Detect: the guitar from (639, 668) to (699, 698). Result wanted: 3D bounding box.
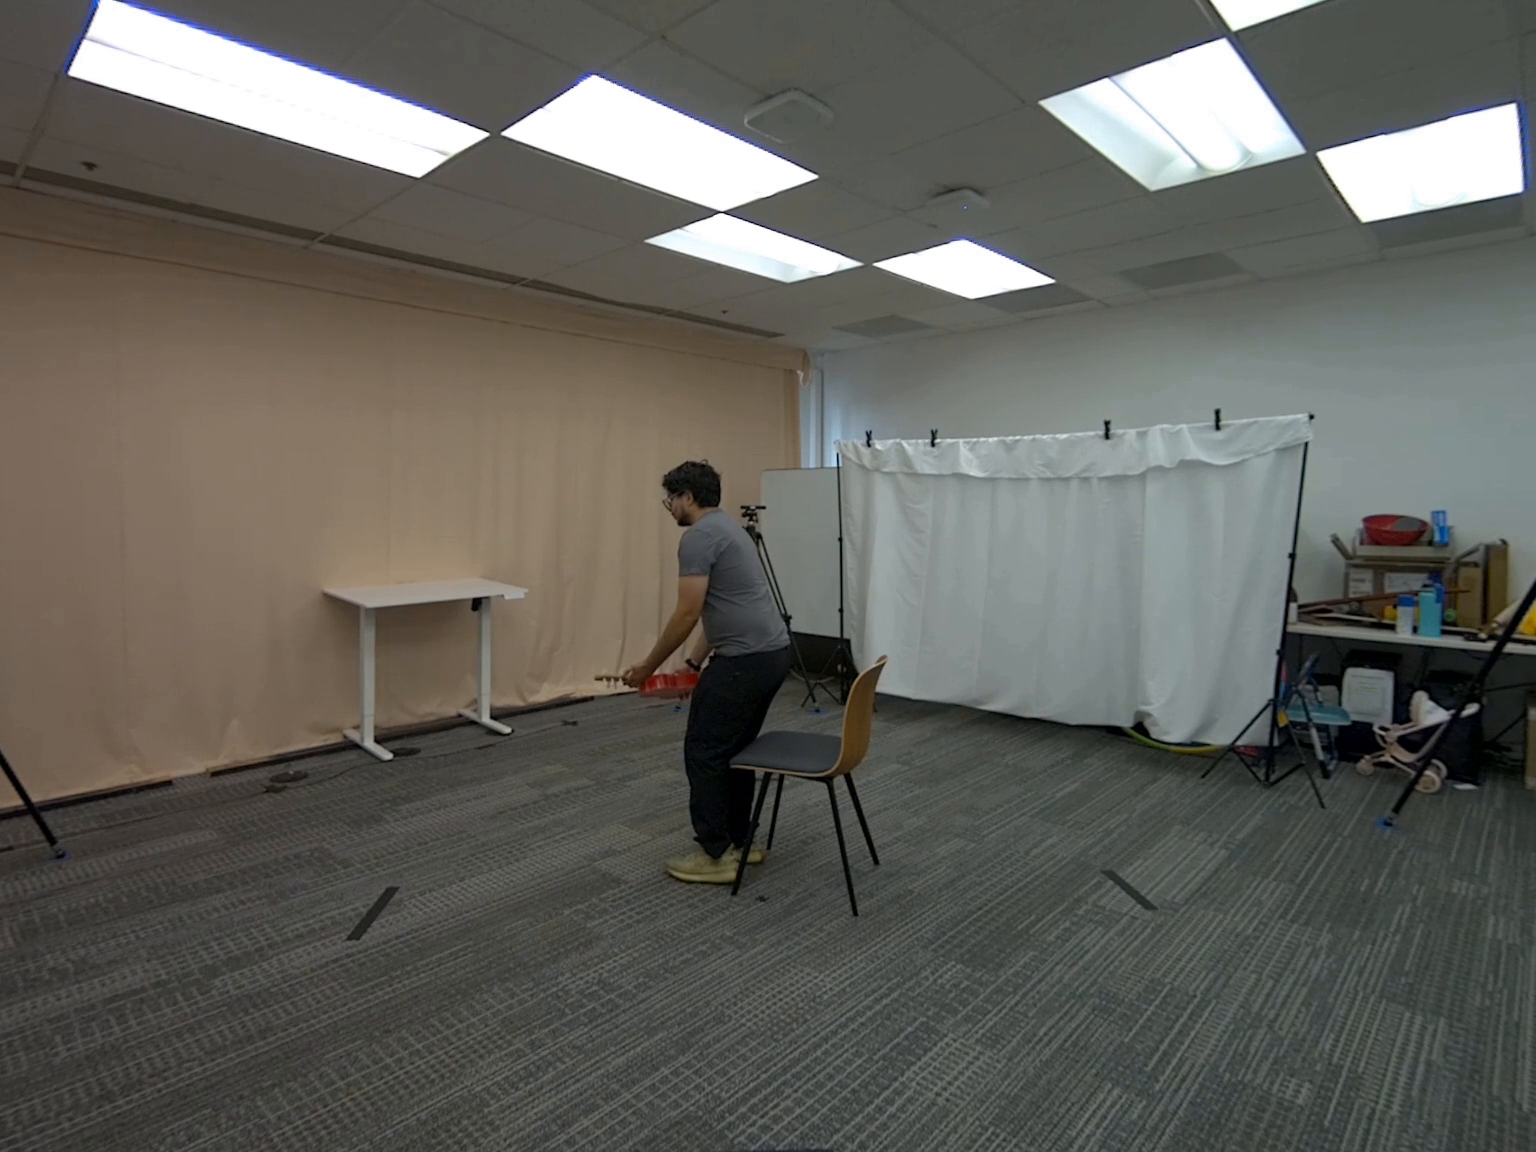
[{"bbox_3d":[-0.492,0.440,3.314,0.483,0.072,0.196,3,-22,-34],"label":"guitar"}]
